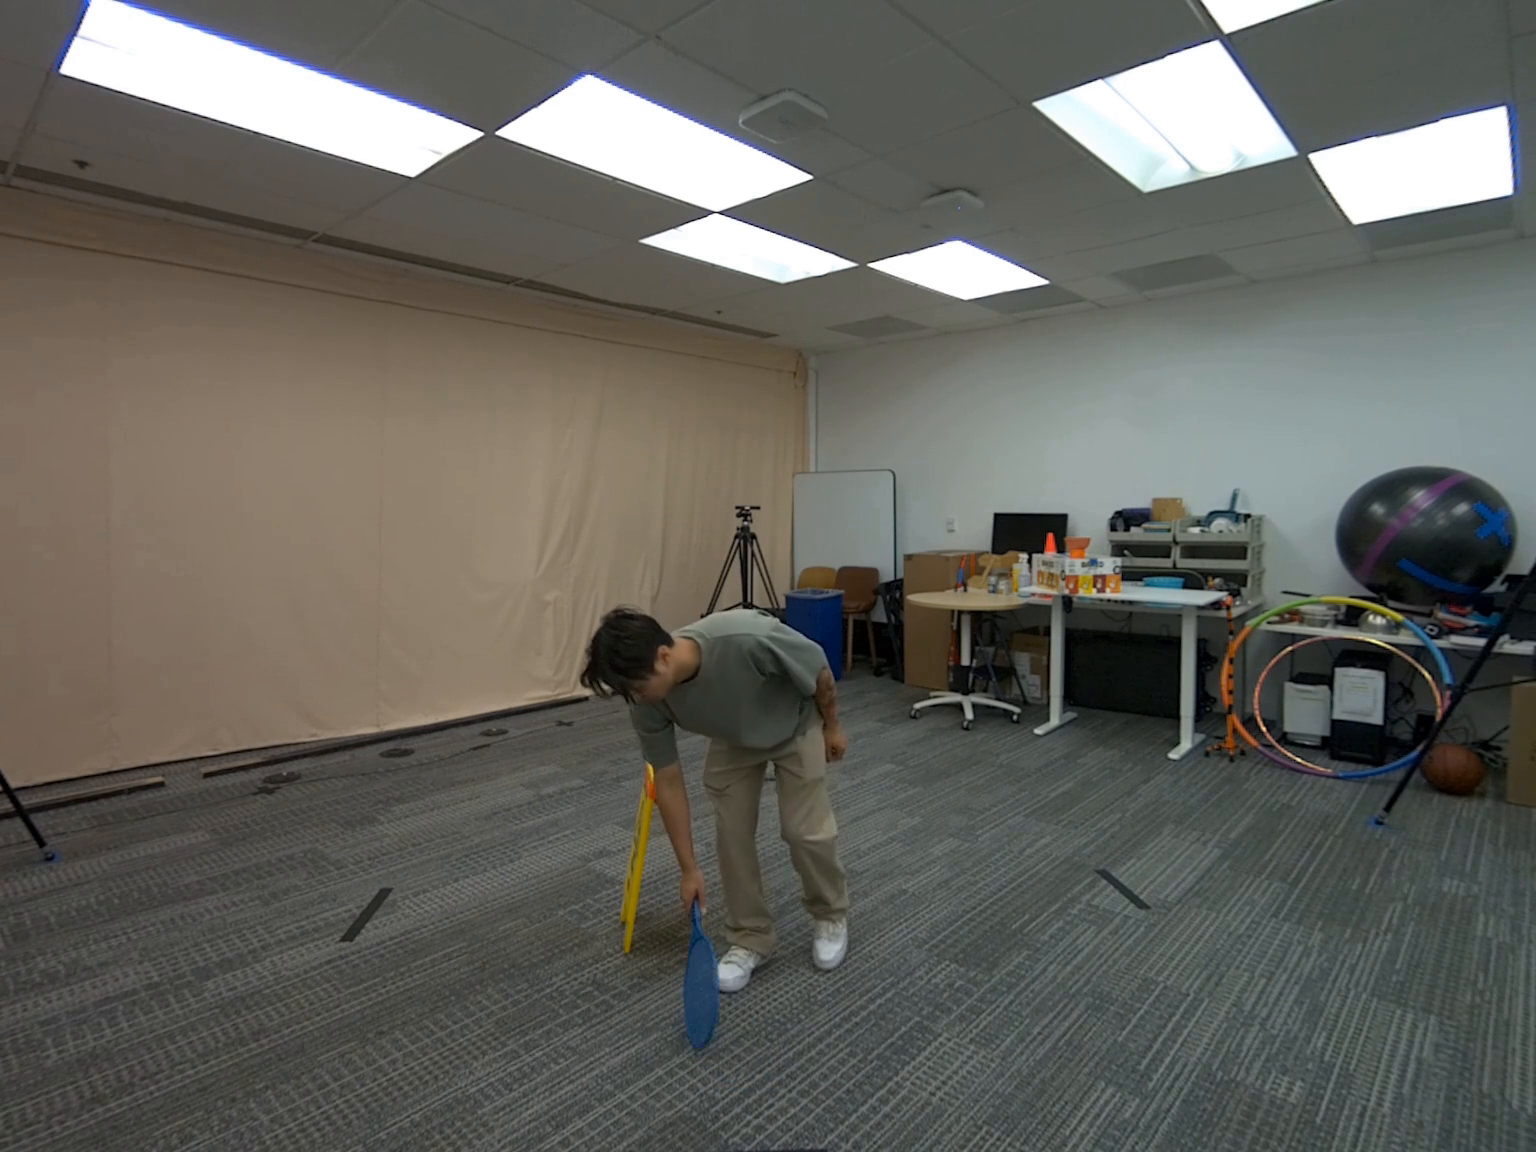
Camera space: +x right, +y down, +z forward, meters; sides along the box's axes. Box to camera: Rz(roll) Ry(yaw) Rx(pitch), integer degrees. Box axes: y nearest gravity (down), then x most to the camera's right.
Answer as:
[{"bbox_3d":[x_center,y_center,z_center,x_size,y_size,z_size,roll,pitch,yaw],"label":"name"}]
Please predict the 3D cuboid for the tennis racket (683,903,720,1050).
[{"bbox_3d":[-0.189,1.039,2.284,0.031,0.214,0.443,18,35,-23],"label":"tennis racket"}]
